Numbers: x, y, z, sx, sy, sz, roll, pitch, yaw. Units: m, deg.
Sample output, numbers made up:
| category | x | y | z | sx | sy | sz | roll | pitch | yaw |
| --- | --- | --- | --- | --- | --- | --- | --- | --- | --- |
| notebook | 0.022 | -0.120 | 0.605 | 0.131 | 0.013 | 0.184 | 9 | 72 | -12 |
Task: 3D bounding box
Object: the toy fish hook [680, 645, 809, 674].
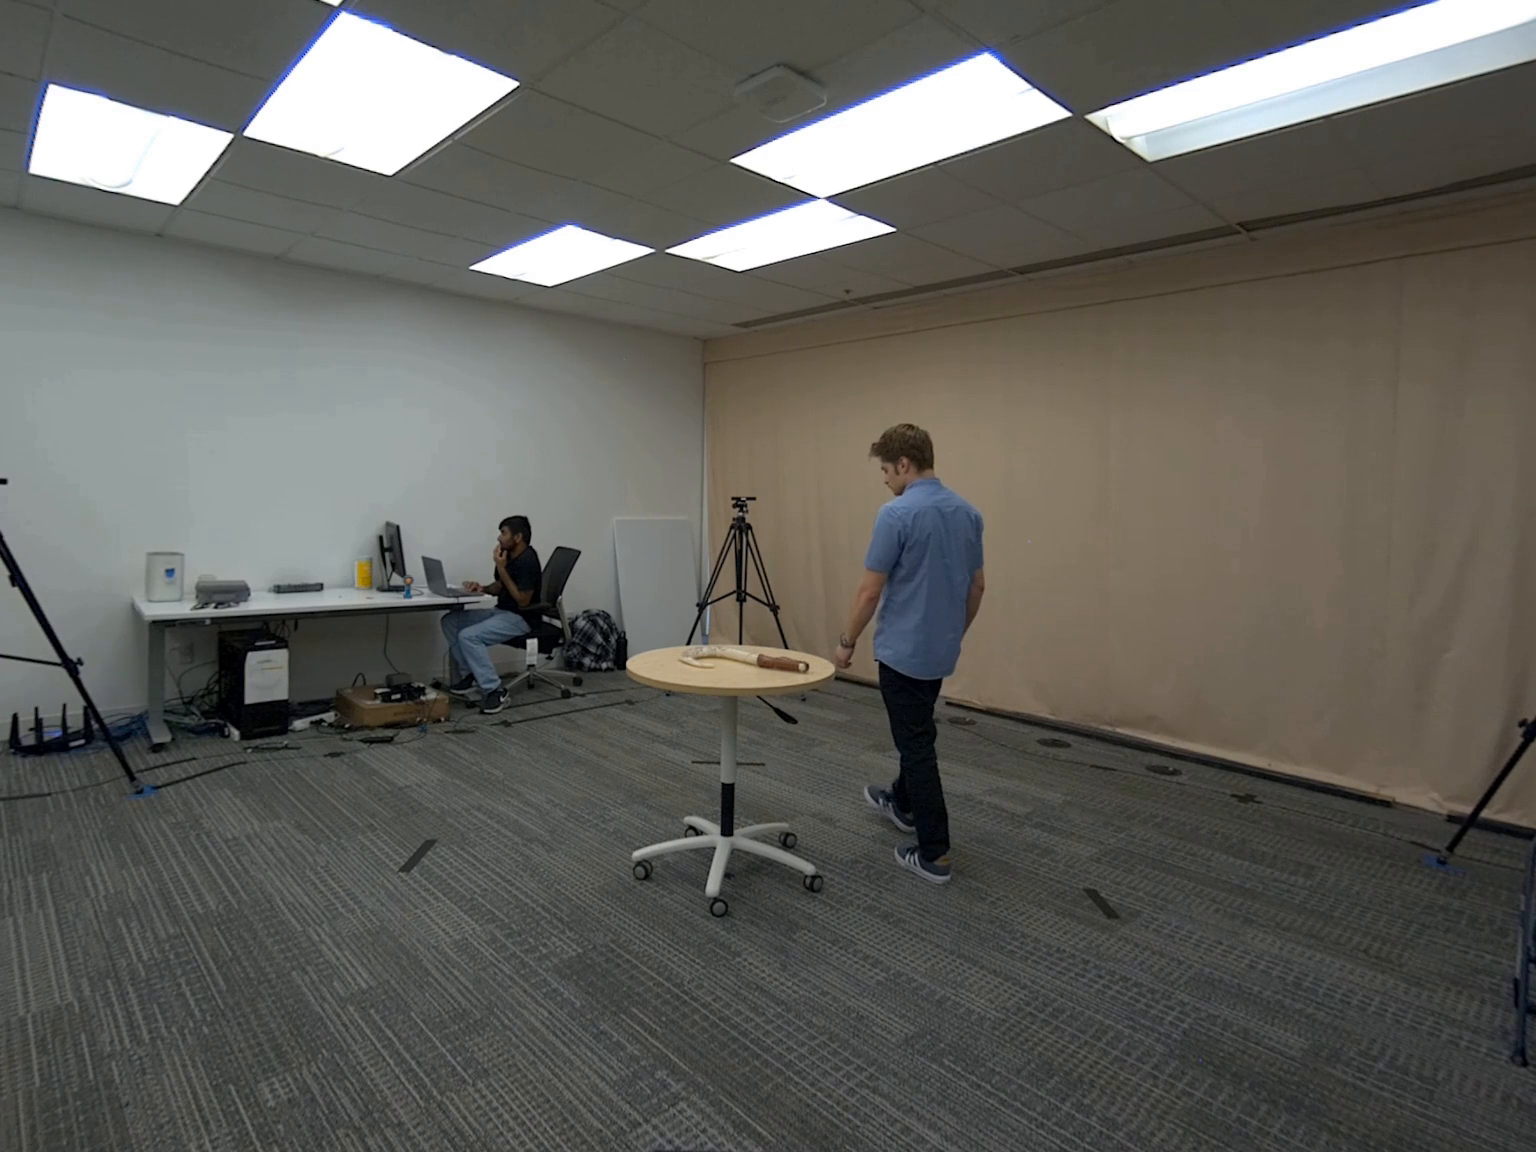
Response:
| category | x | y | z | sx | sy | sz | roll | pitch | yaw |
| --- | --- | --- | --- | --- | --- | --- | --- | --- | --- |
| toy fish hook | -0.103 | 0.318 | 3.052 | 0.518 | 0.048 | 0.221 | 4 | 15 | 34 |
